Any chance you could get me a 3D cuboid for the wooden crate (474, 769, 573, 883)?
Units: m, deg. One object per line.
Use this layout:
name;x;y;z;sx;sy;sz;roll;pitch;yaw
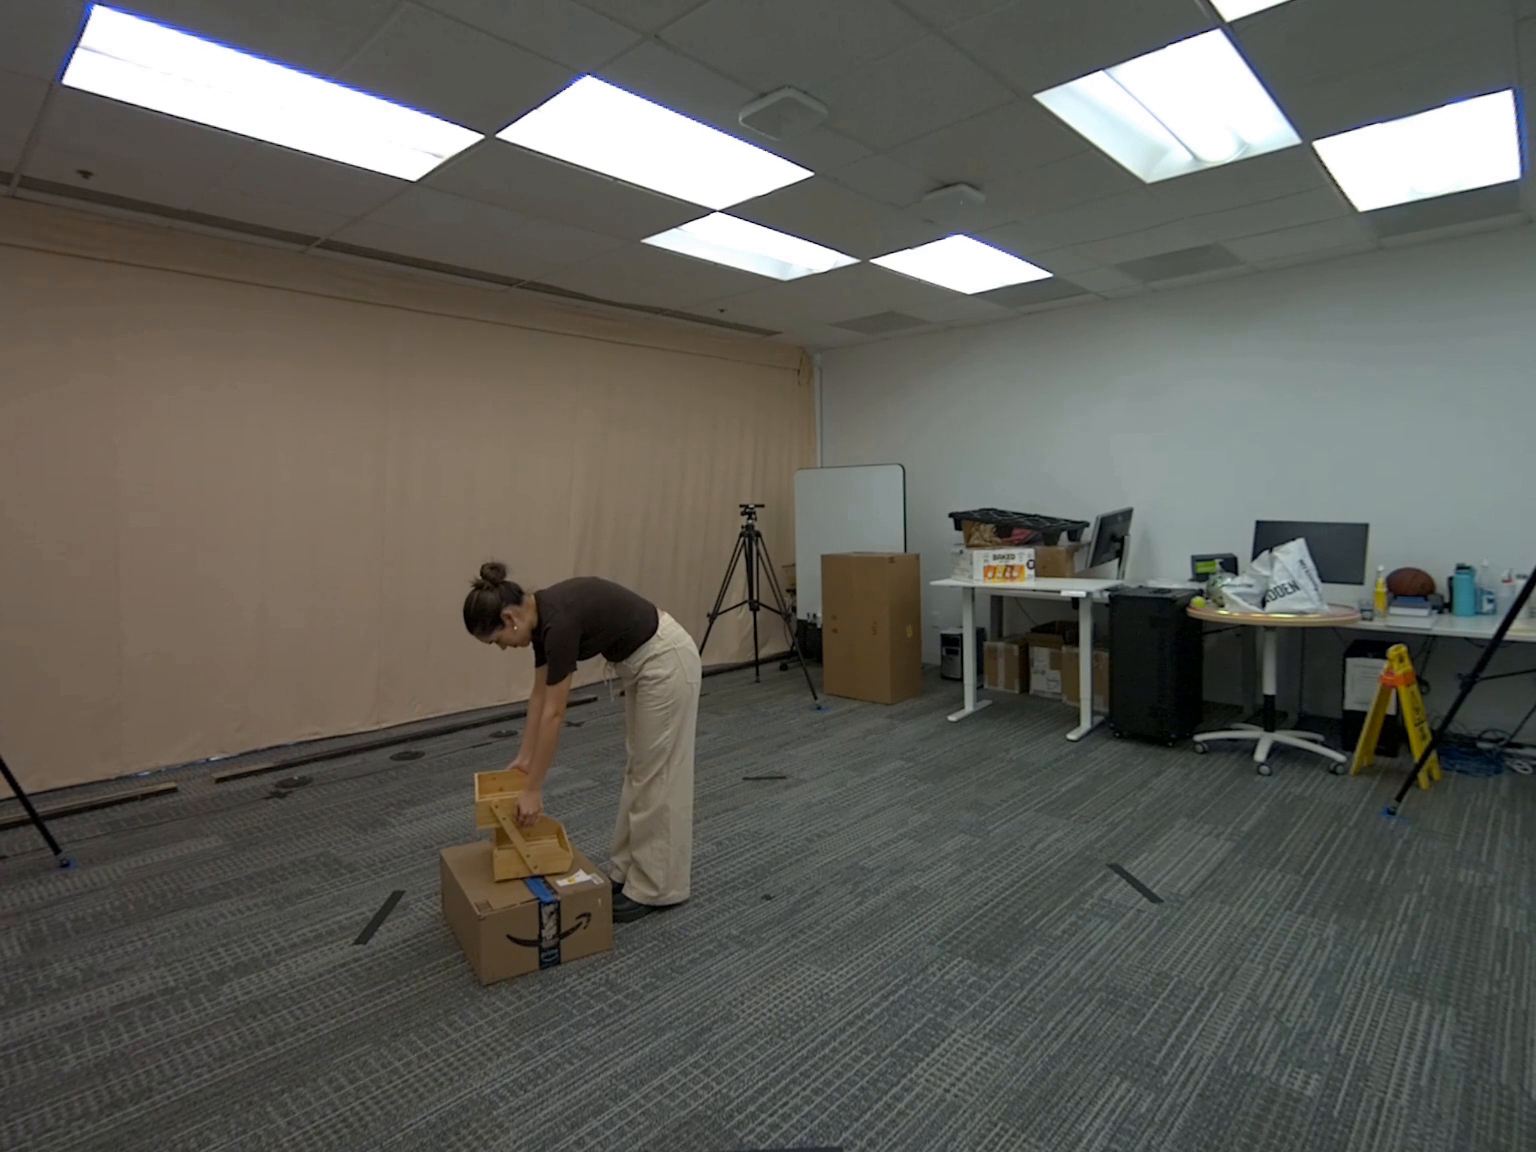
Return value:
wooden crate;-0.807;0.805;2.812;0.297;0.273;0.331;-2;3;-18
